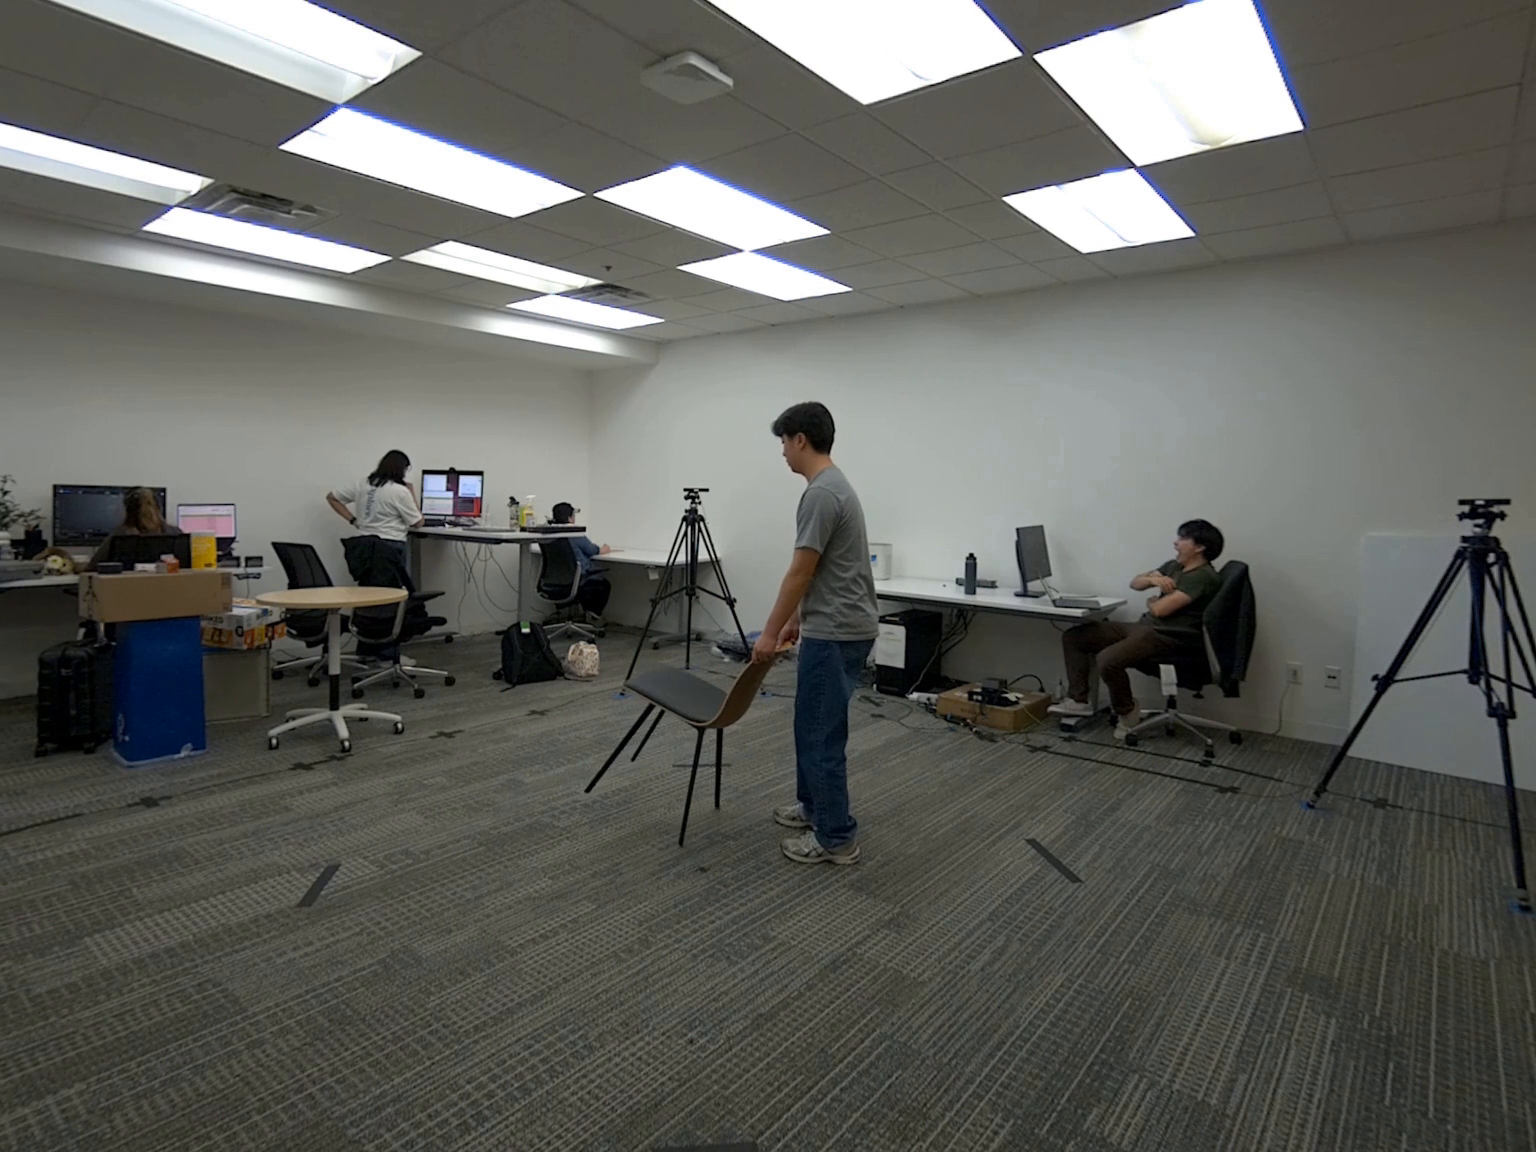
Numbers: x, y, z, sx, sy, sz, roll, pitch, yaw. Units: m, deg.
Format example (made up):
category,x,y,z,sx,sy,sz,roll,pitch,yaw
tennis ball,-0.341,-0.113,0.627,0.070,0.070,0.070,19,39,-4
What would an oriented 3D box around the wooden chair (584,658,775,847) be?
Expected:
category,x,y,z,sx,sy,sz,roll,pitch,yaw
wooden chair,-0.346,0.551,3.504,0.535,0.873,0.470,29,11,15
